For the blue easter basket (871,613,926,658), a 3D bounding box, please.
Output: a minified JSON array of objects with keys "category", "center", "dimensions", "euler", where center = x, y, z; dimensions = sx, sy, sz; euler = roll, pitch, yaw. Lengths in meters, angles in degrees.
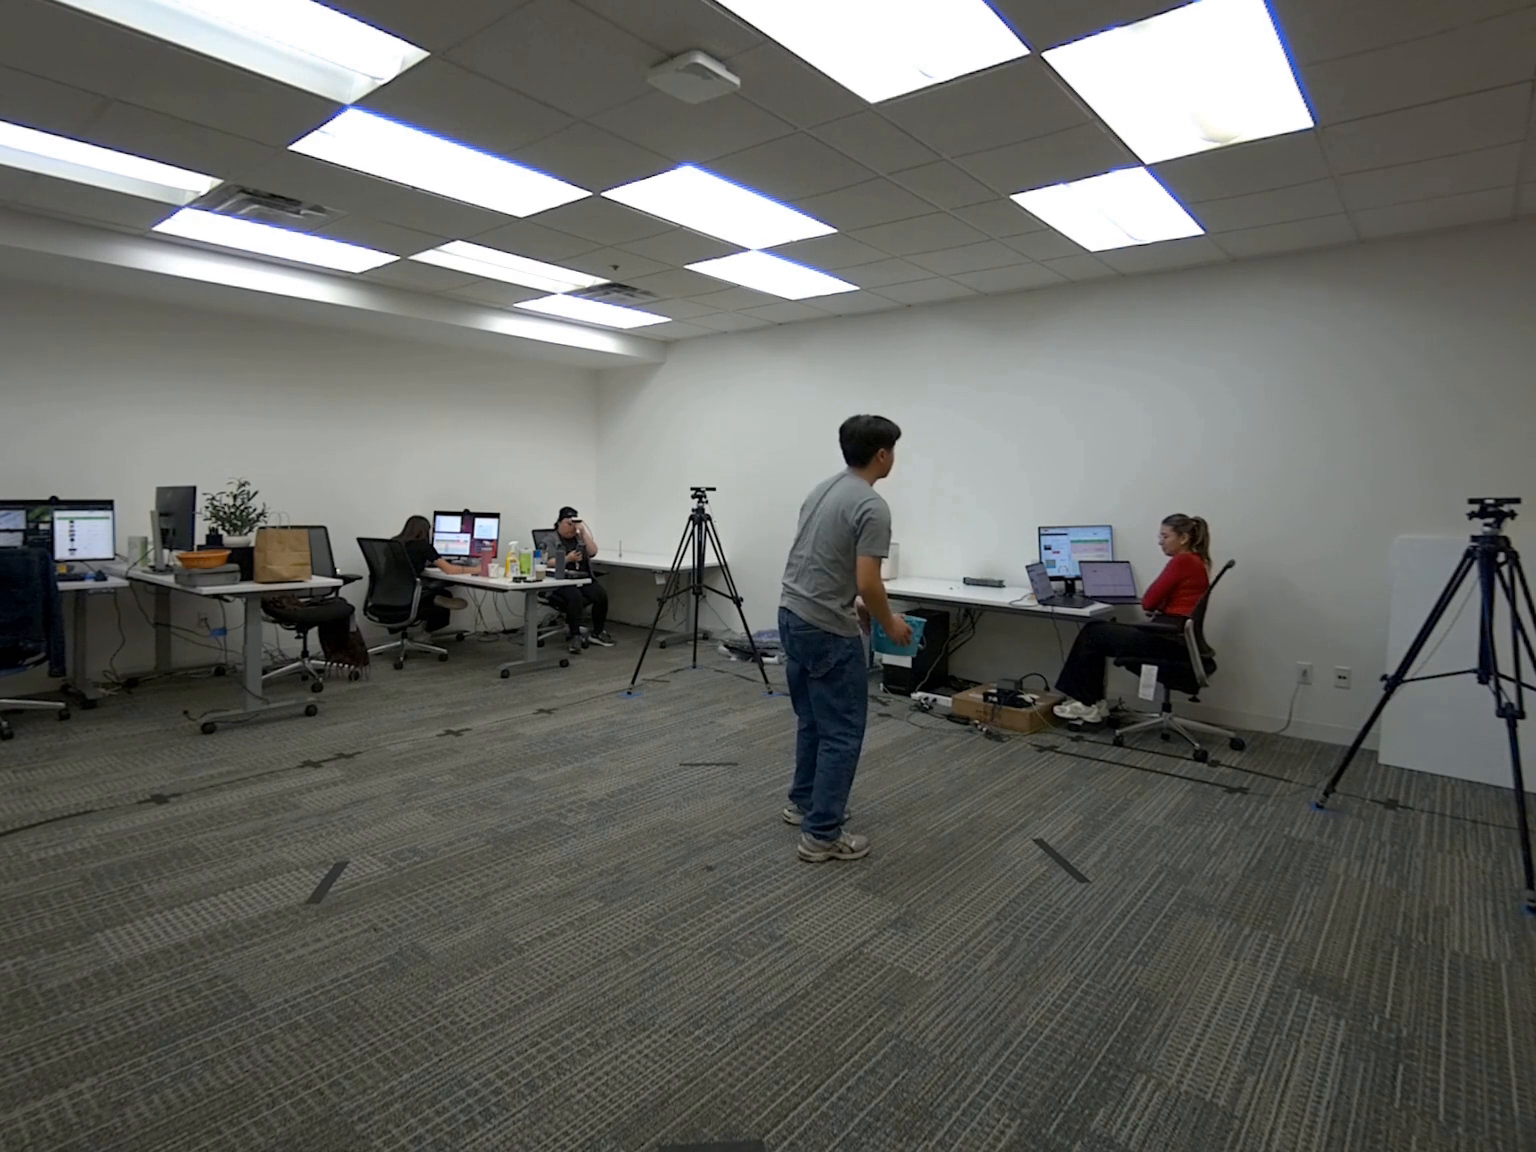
[{"category":"blue easter basket","center":[0.517,0.248,3.503],"dimensions":[0.243,0.156,0.244],"euler":[6,2,-2]}]
